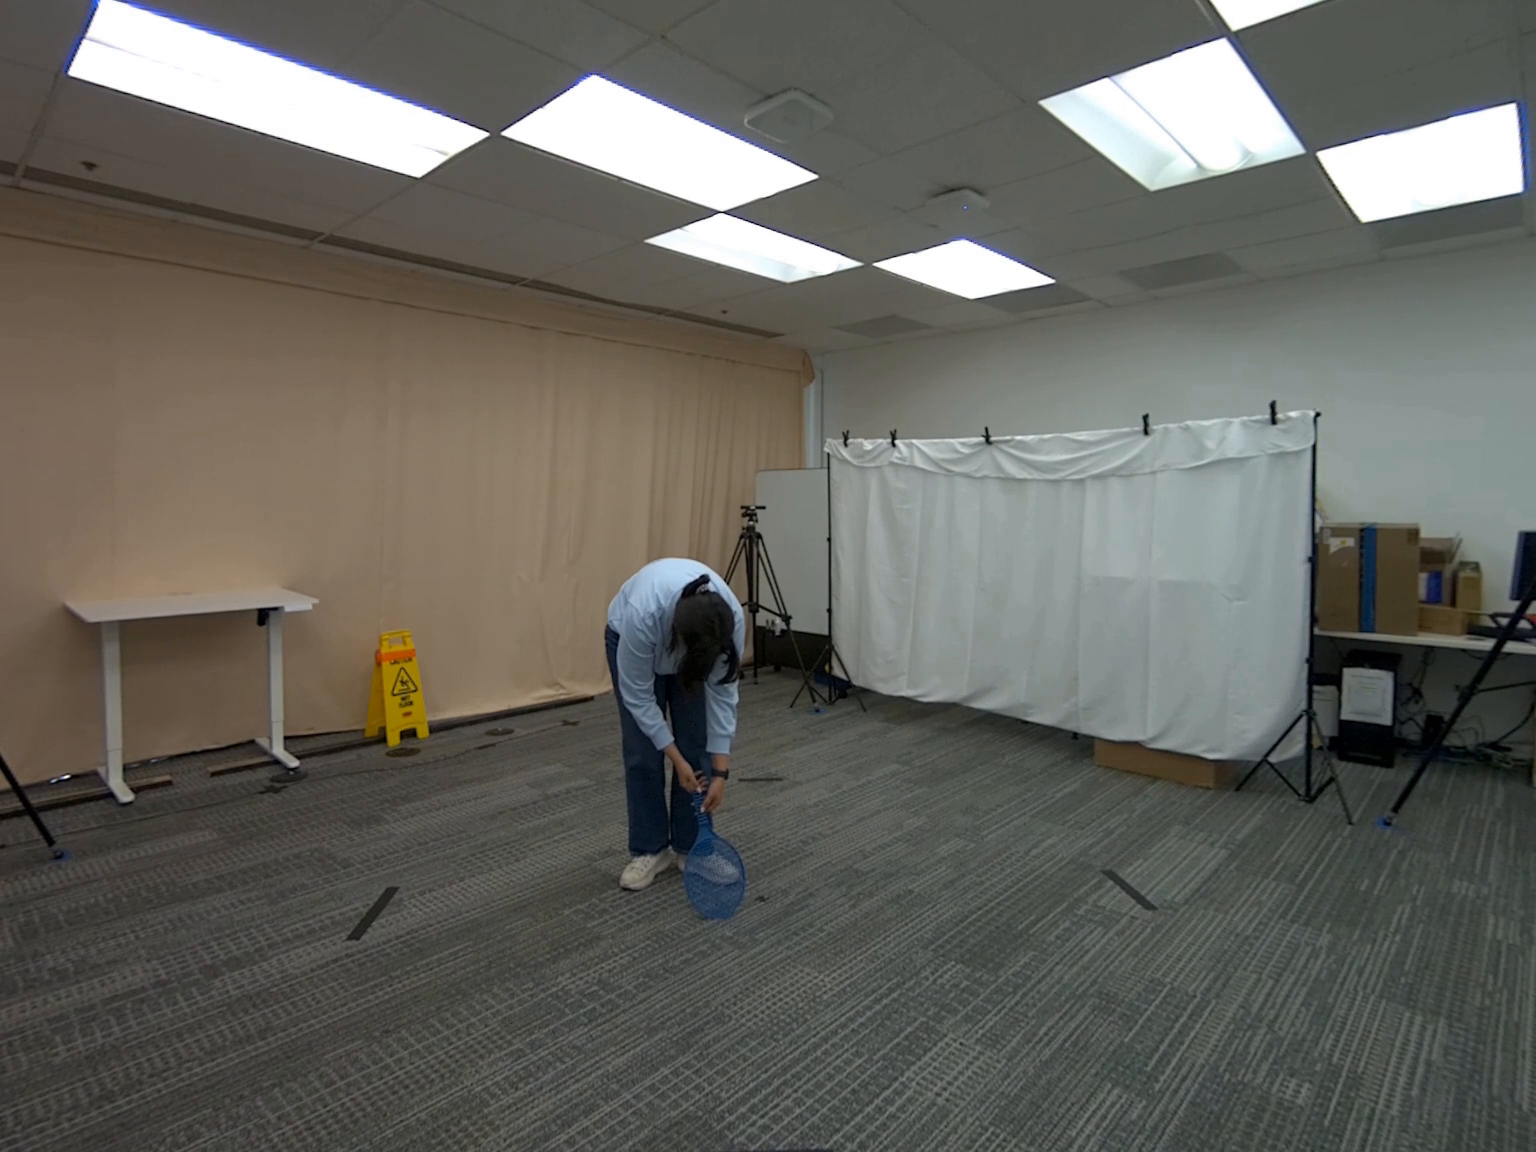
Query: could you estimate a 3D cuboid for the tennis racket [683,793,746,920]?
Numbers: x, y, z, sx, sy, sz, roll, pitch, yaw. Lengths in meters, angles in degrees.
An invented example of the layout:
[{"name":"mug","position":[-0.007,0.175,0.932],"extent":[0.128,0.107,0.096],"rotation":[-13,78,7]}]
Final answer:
[{"name":"tennis racket","position":[-0.191,0.946,2.883],"extent":[0.211,0.436,0.032],"rotation":[-9,-8,-13]}]
